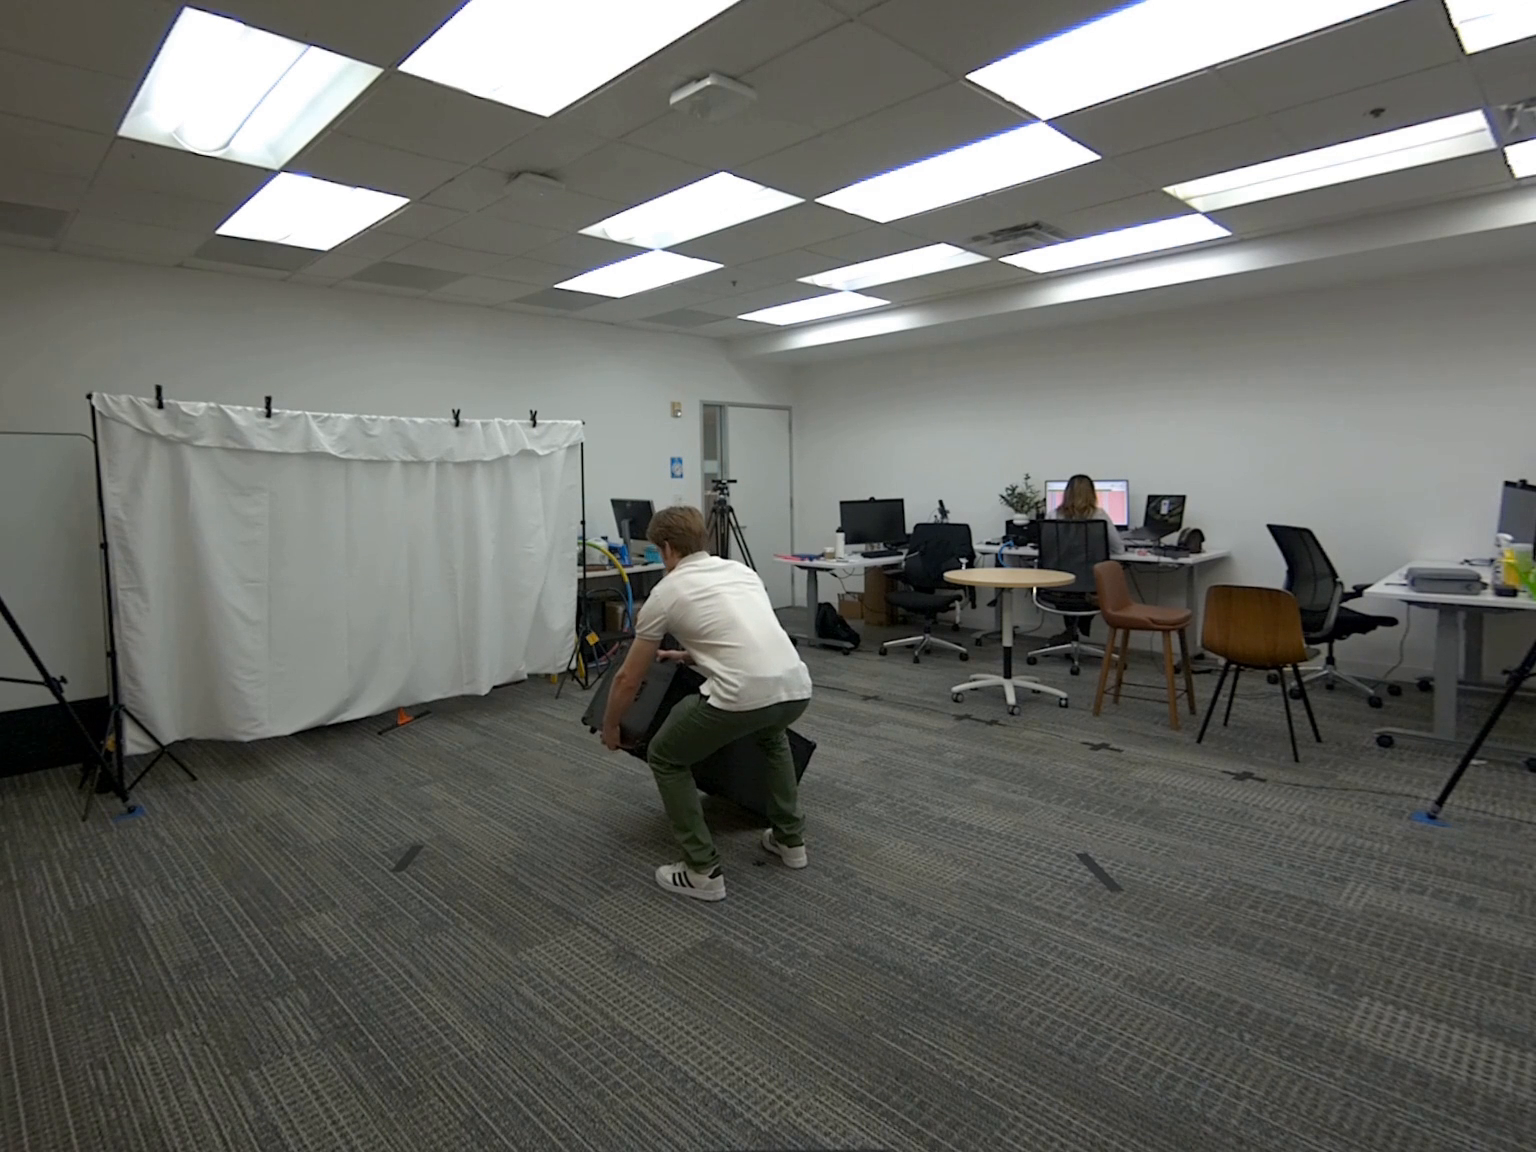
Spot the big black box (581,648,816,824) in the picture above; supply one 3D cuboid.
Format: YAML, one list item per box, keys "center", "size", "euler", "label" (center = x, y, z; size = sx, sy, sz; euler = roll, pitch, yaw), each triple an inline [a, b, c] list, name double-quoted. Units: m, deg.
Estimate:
- center: [-0.252, 0.666, 3.520]
  size: [0.839, 0.387, 0.538]
  euler: [37, -19, -31]
  label: "big black box"
